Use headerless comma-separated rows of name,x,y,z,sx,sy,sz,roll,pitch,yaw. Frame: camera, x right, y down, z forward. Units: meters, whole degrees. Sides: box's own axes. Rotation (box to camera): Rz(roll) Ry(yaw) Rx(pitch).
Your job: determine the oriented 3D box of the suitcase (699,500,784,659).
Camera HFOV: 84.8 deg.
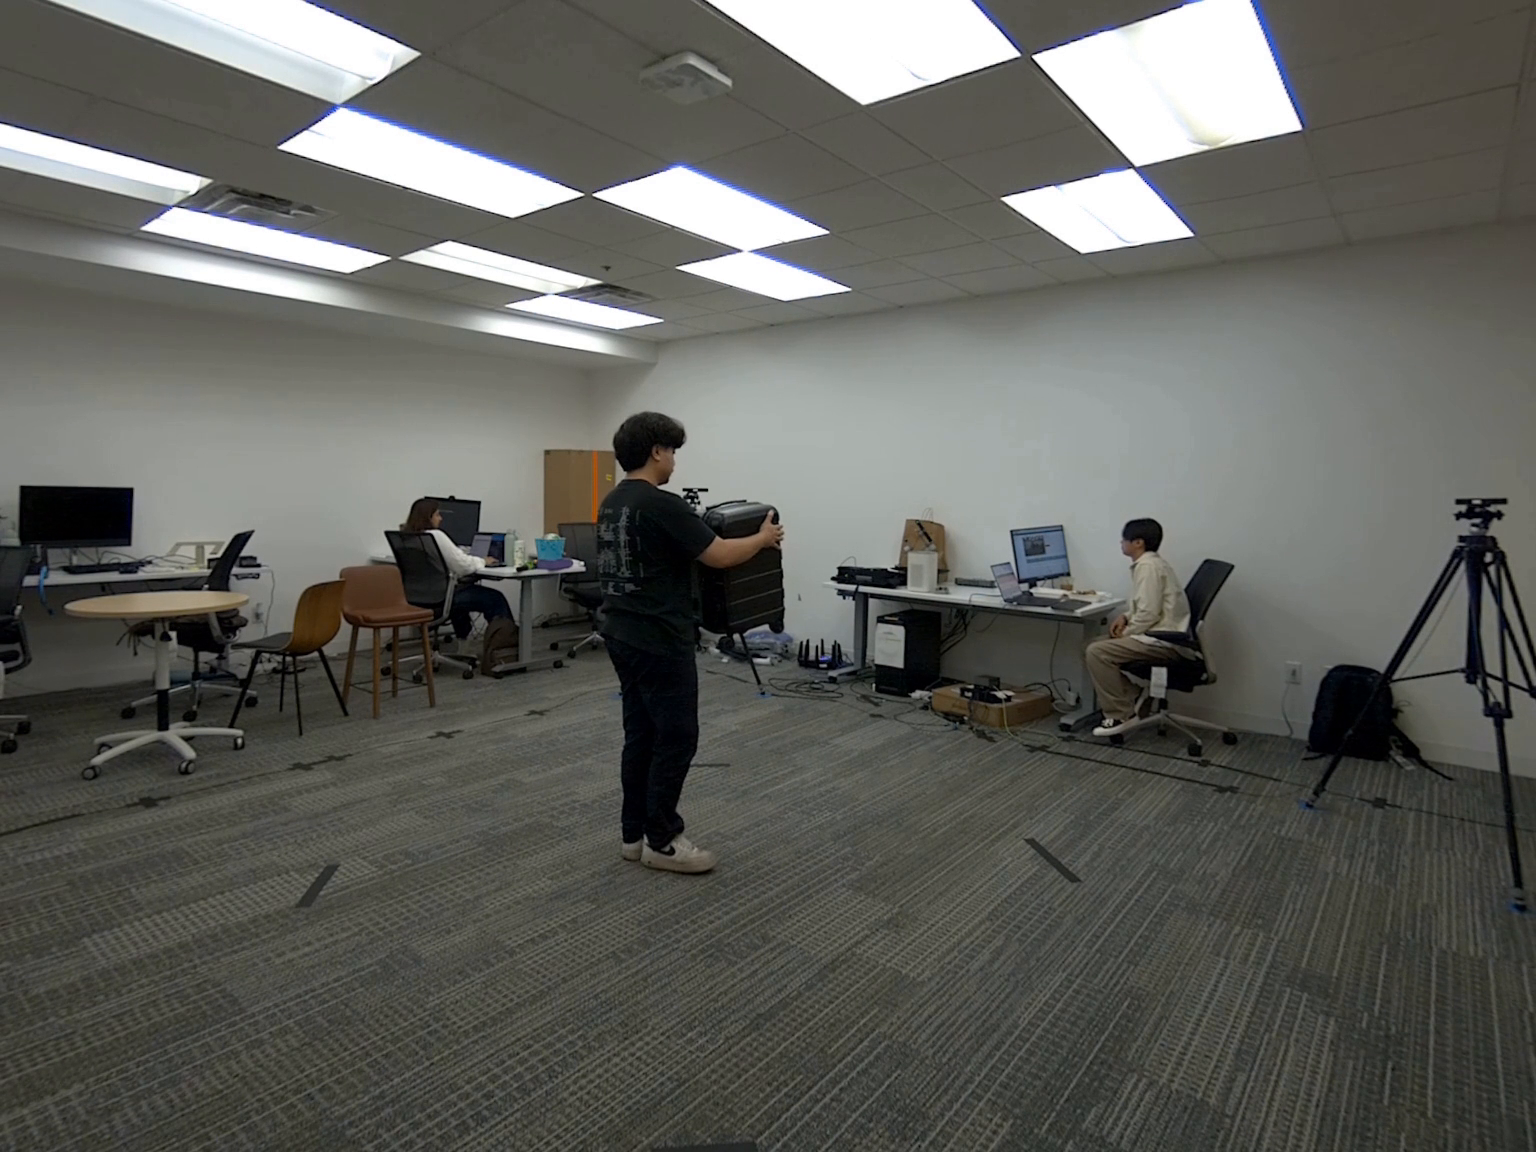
suitcase,-0.135,-0.025,3.439,0.366,0.544,0.257,-11,13,-44
